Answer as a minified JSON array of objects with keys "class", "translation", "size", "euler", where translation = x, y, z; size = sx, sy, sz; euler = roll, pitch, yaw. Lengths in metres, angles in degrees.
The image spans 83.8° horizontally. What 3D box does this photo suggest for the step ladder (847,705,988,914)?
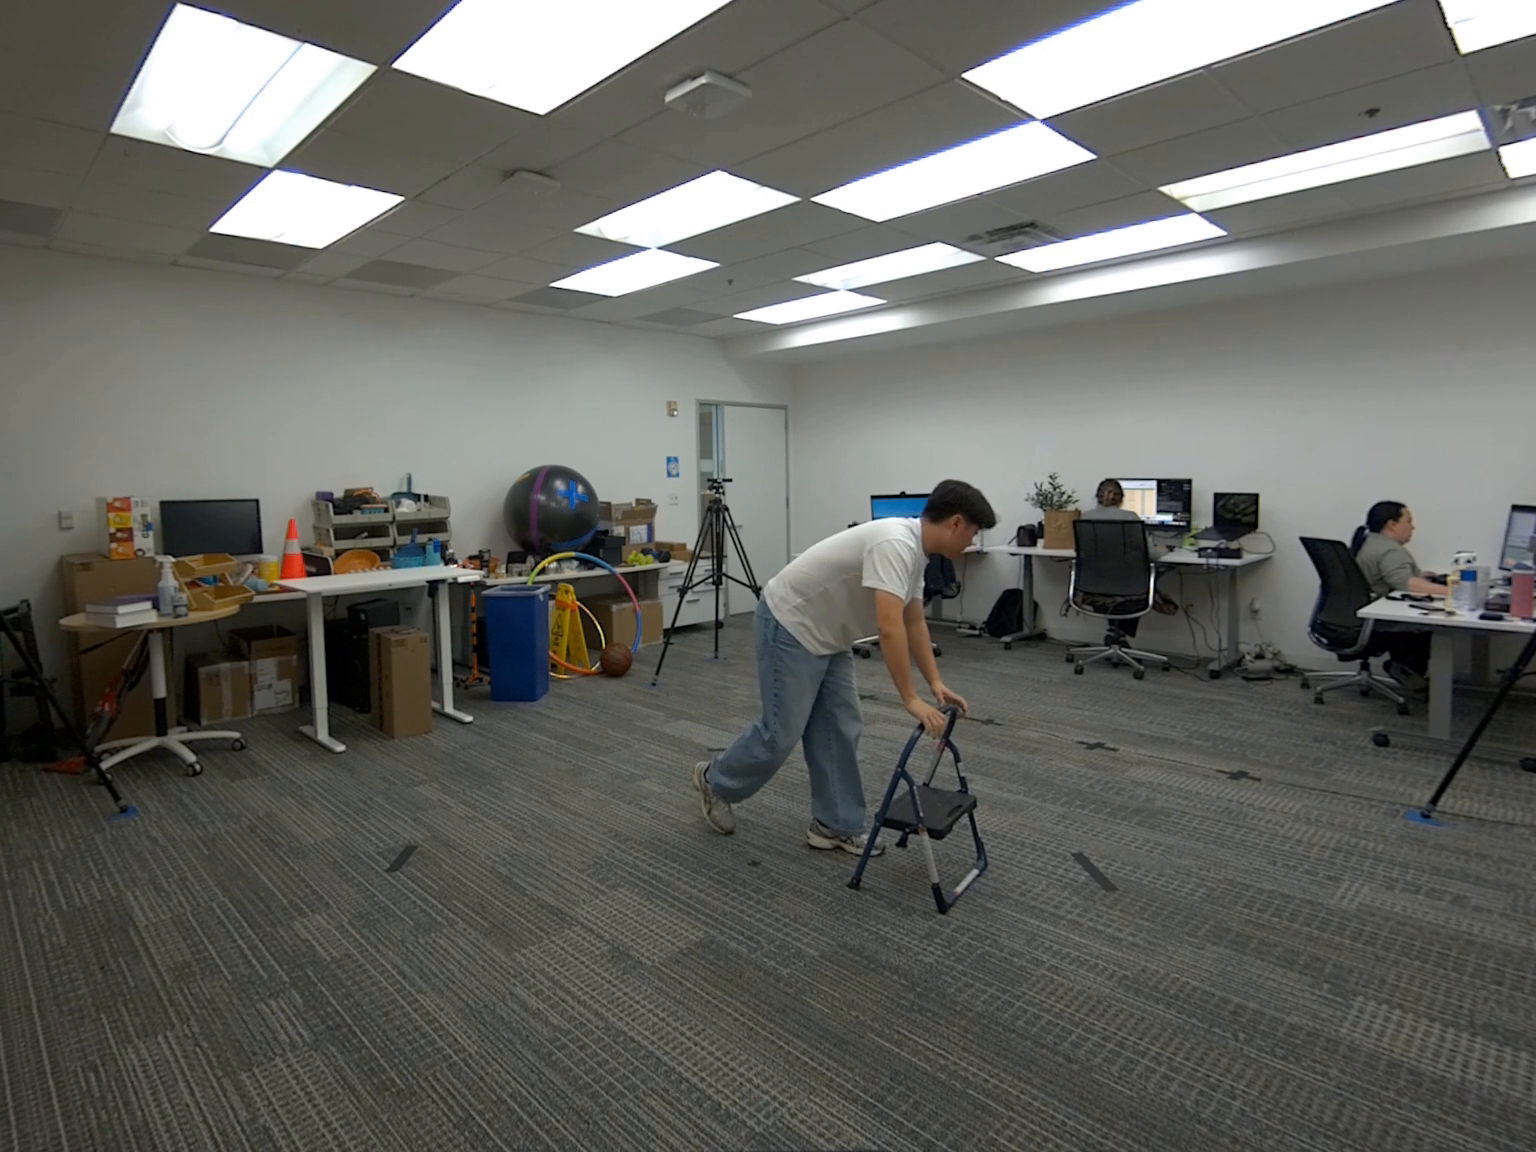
[{"class":"step ladder","translation":[0.530,0.749,2.958],"size":[0.359,0.604,0.420],"euler":[2,5,33]}]
